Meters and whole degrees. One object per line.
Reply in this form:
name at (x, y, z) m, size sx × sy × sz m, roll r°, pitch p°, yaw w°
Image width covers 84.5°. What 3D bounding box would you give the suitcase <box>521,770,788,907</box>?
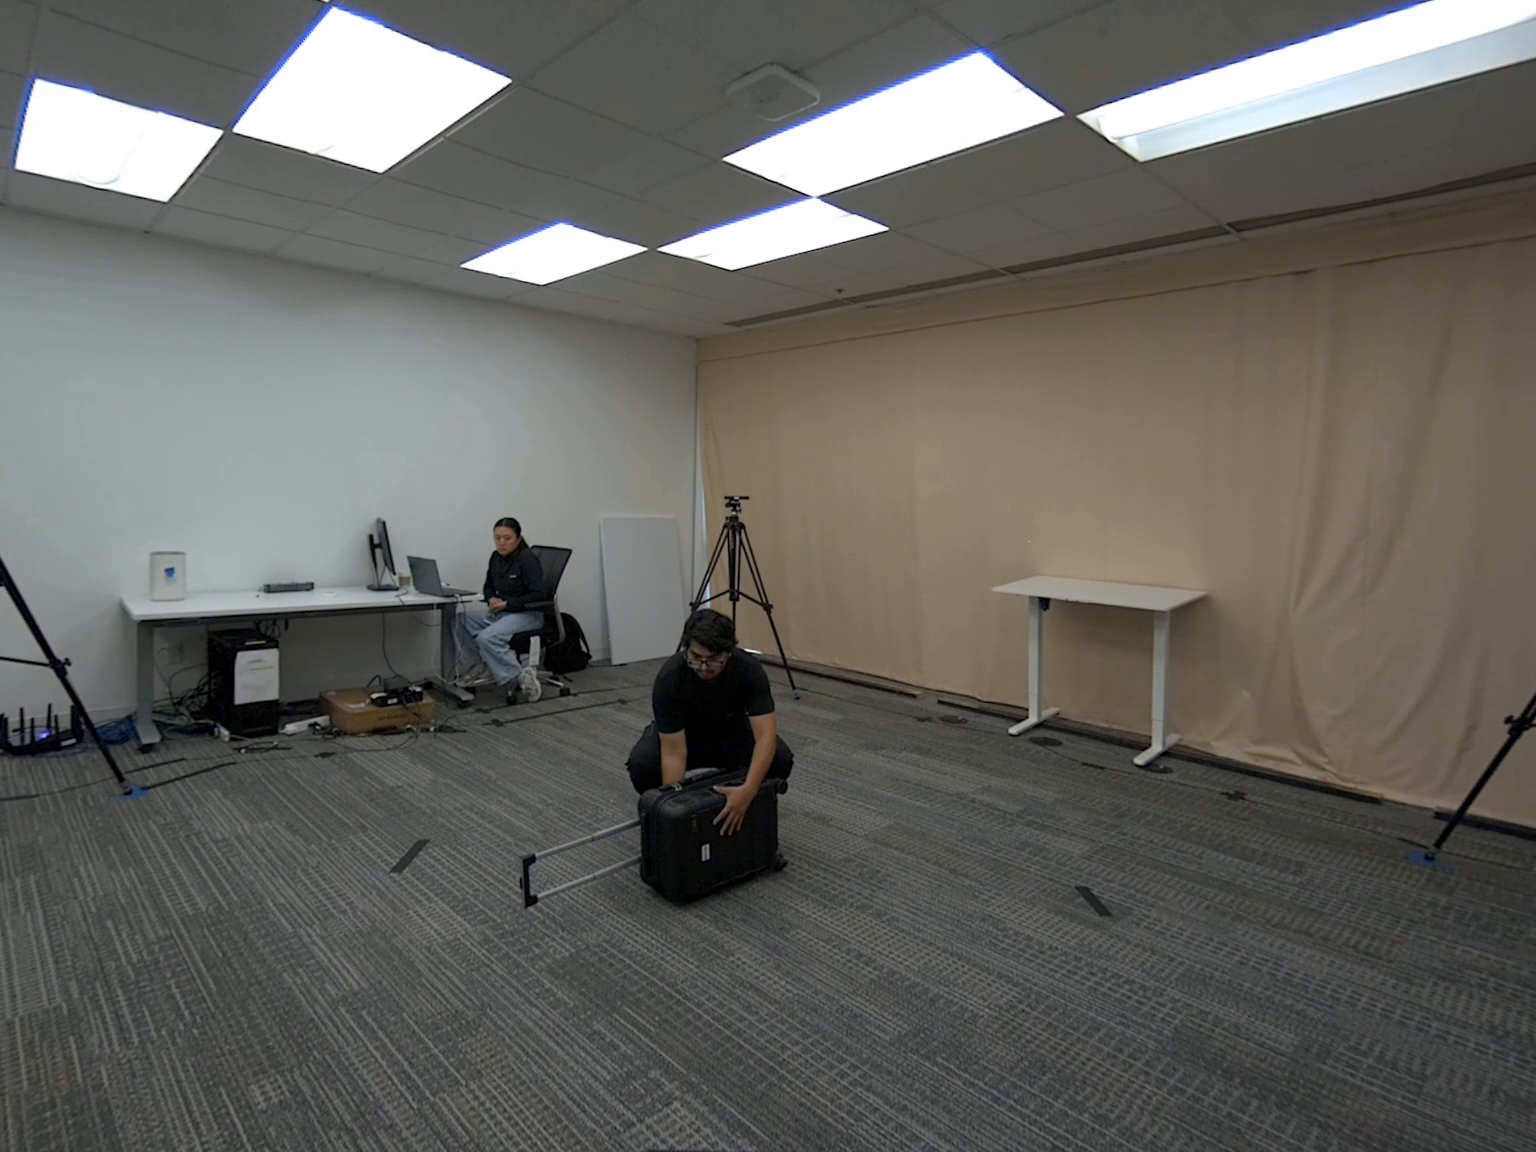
suitcase at (-0.359, 0.933, 2.893) m, size 0.957 × 0.383 × 0.263 m, roll -5°, pitch 5°, yaw -45°
